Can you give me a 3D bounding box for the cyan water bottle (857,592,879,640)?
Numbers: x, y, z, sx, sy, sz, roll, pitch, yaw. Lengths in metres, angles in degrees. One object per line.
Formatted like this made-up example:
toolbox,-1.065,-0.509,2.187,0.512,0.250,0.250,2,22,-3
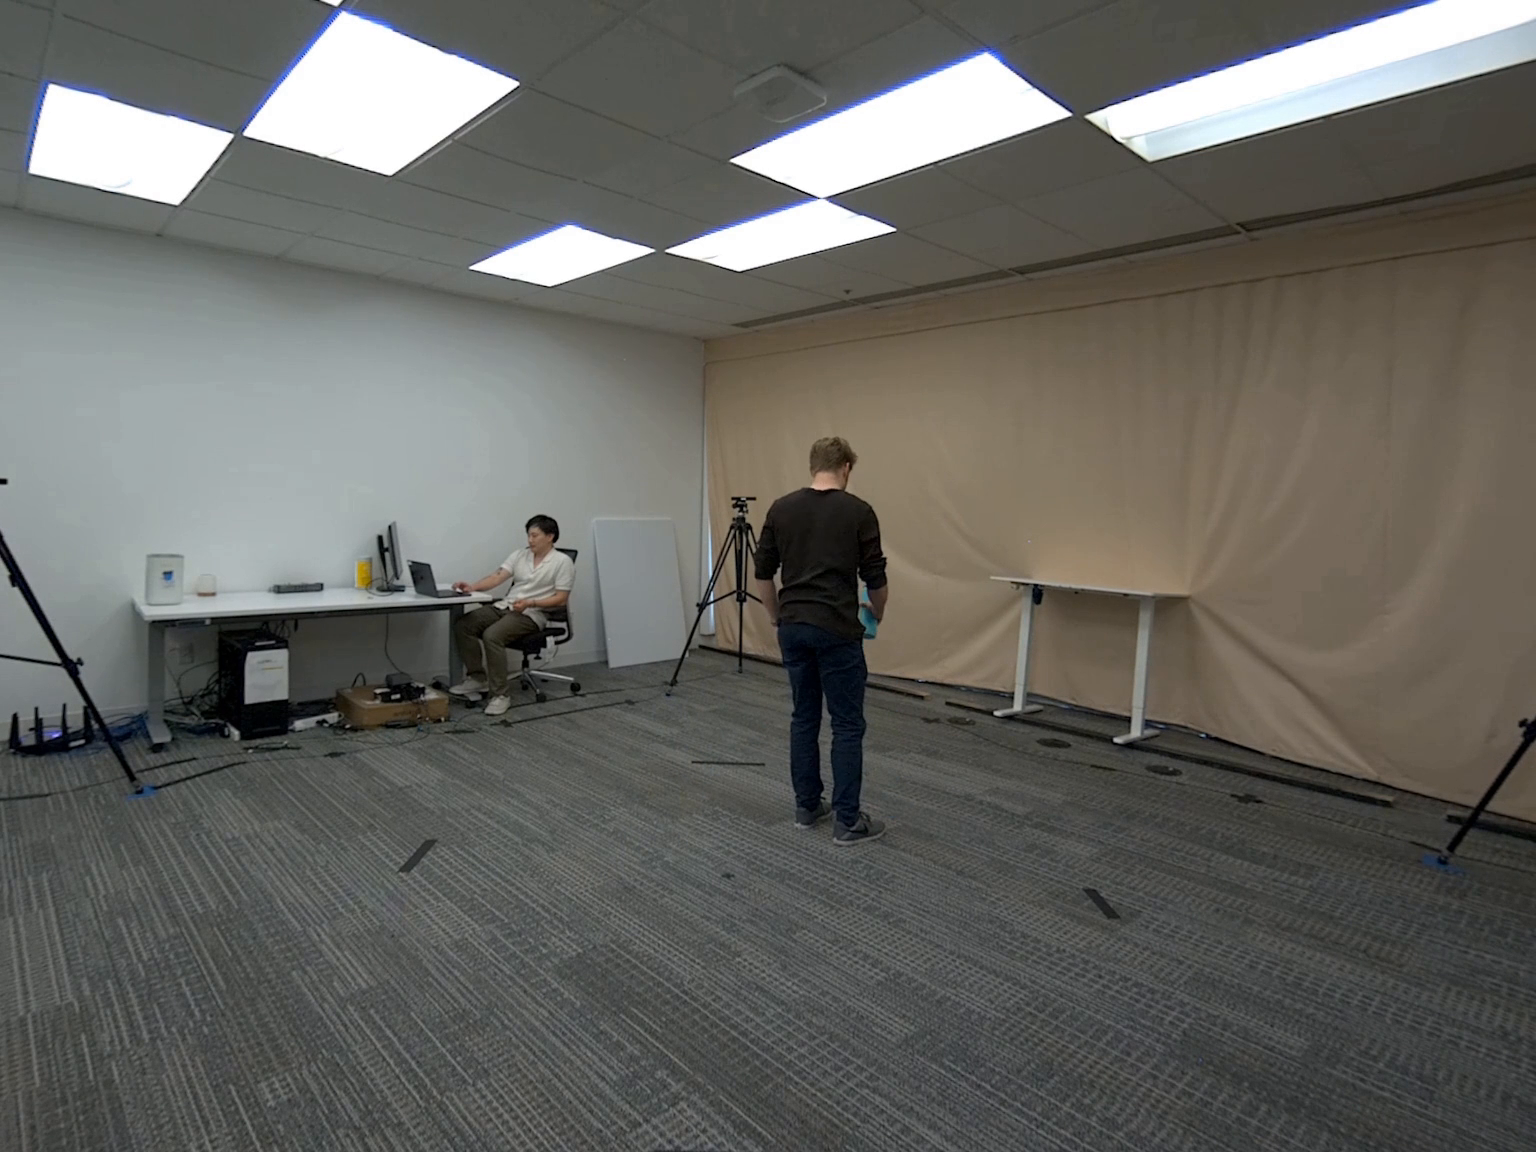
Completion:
cyan water bottle,0.462,0.150,3.846,0.092,0.287,0.091,9,-21,2
